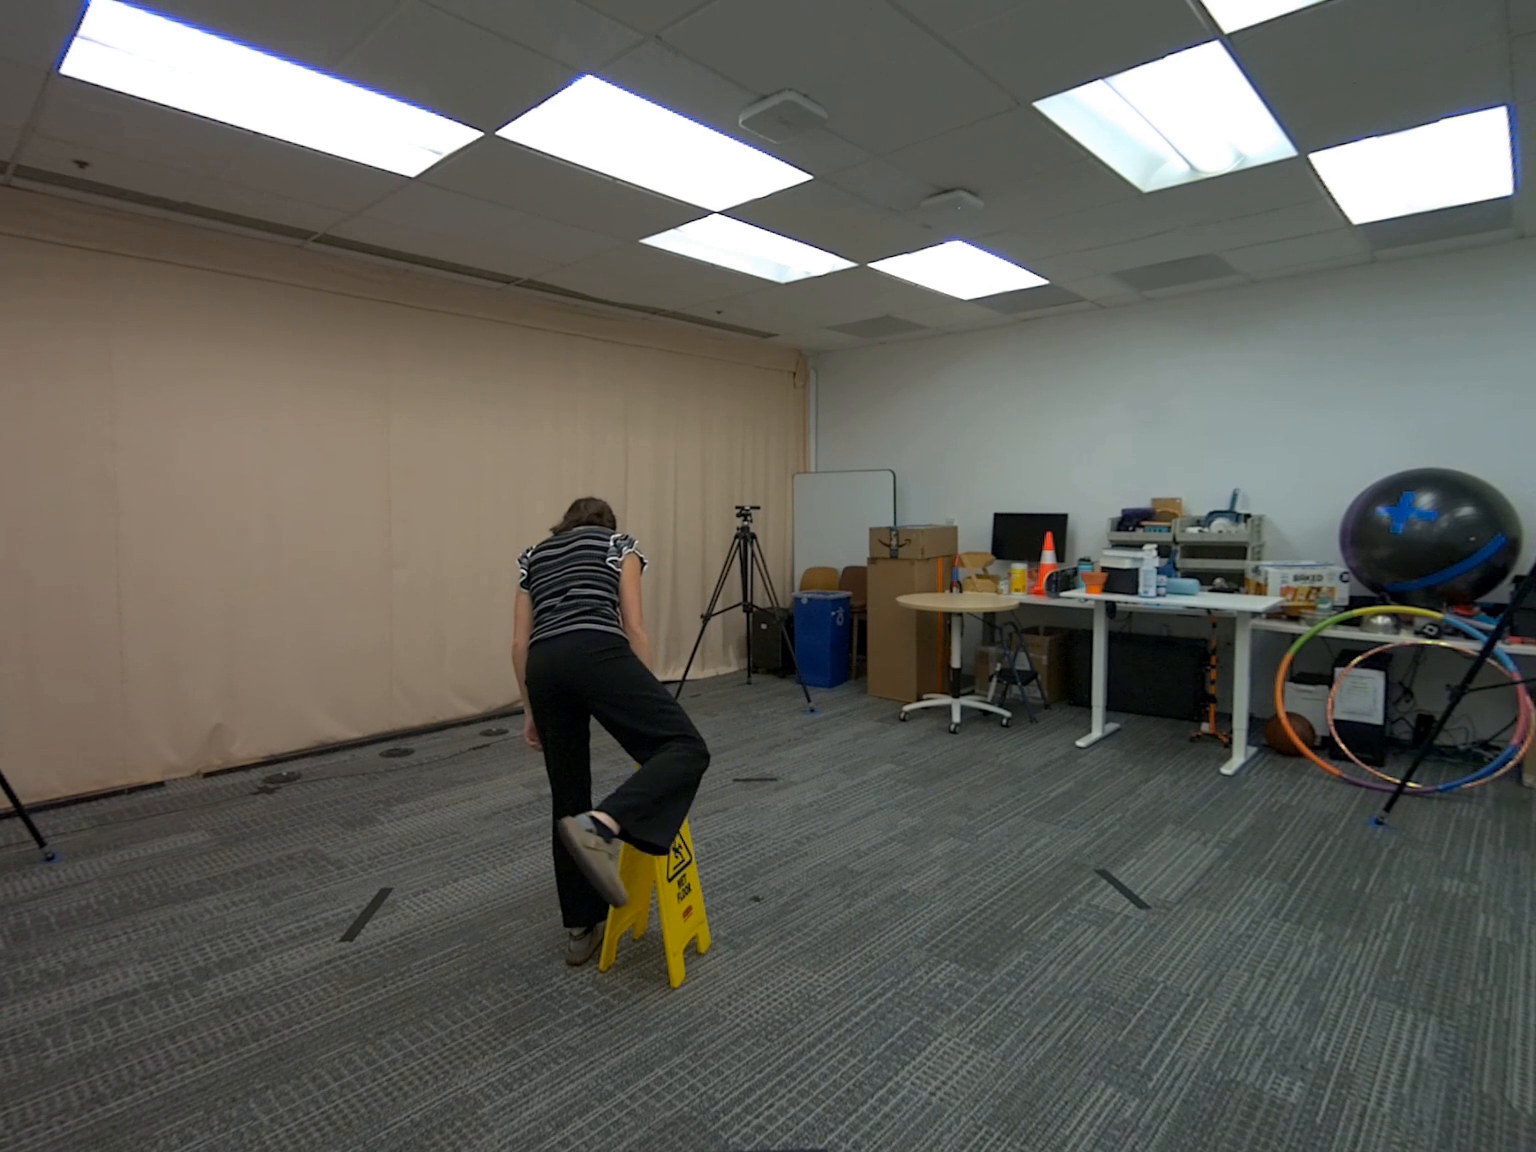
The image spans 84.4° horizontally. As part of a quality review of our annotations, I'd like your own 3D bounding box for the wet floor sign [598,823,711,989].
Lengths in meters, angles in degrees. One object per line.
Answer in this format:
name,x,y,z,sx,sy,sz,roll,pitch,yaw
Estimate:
wet floor sign,-0.348,0.861,2.578,0.296,0.645,0.276,0,2,21
